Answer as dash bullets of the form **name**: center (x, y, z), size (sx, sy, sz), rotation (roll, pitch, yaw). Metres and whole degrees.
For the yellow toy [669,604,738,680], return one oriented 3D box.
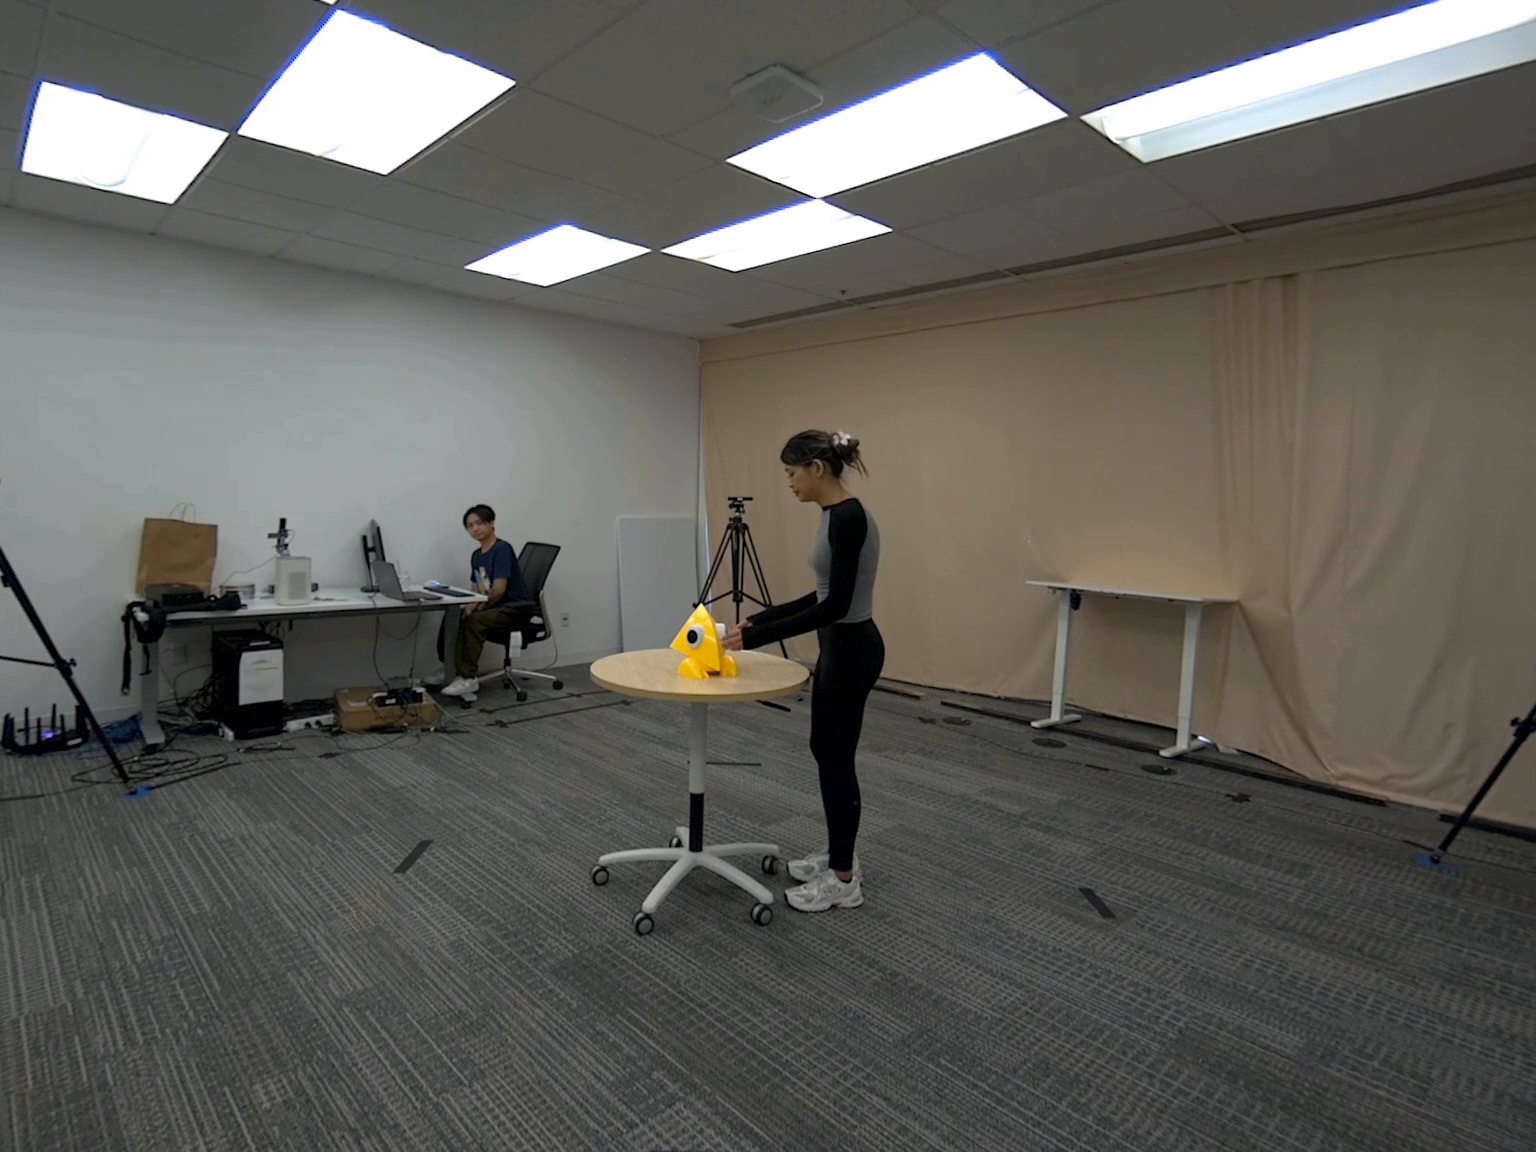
- **yellow toy**: center (-0.207, 0.220, 2.881), size (0.201, 0.230, 0.197), rotation (-1, 6, -28)
